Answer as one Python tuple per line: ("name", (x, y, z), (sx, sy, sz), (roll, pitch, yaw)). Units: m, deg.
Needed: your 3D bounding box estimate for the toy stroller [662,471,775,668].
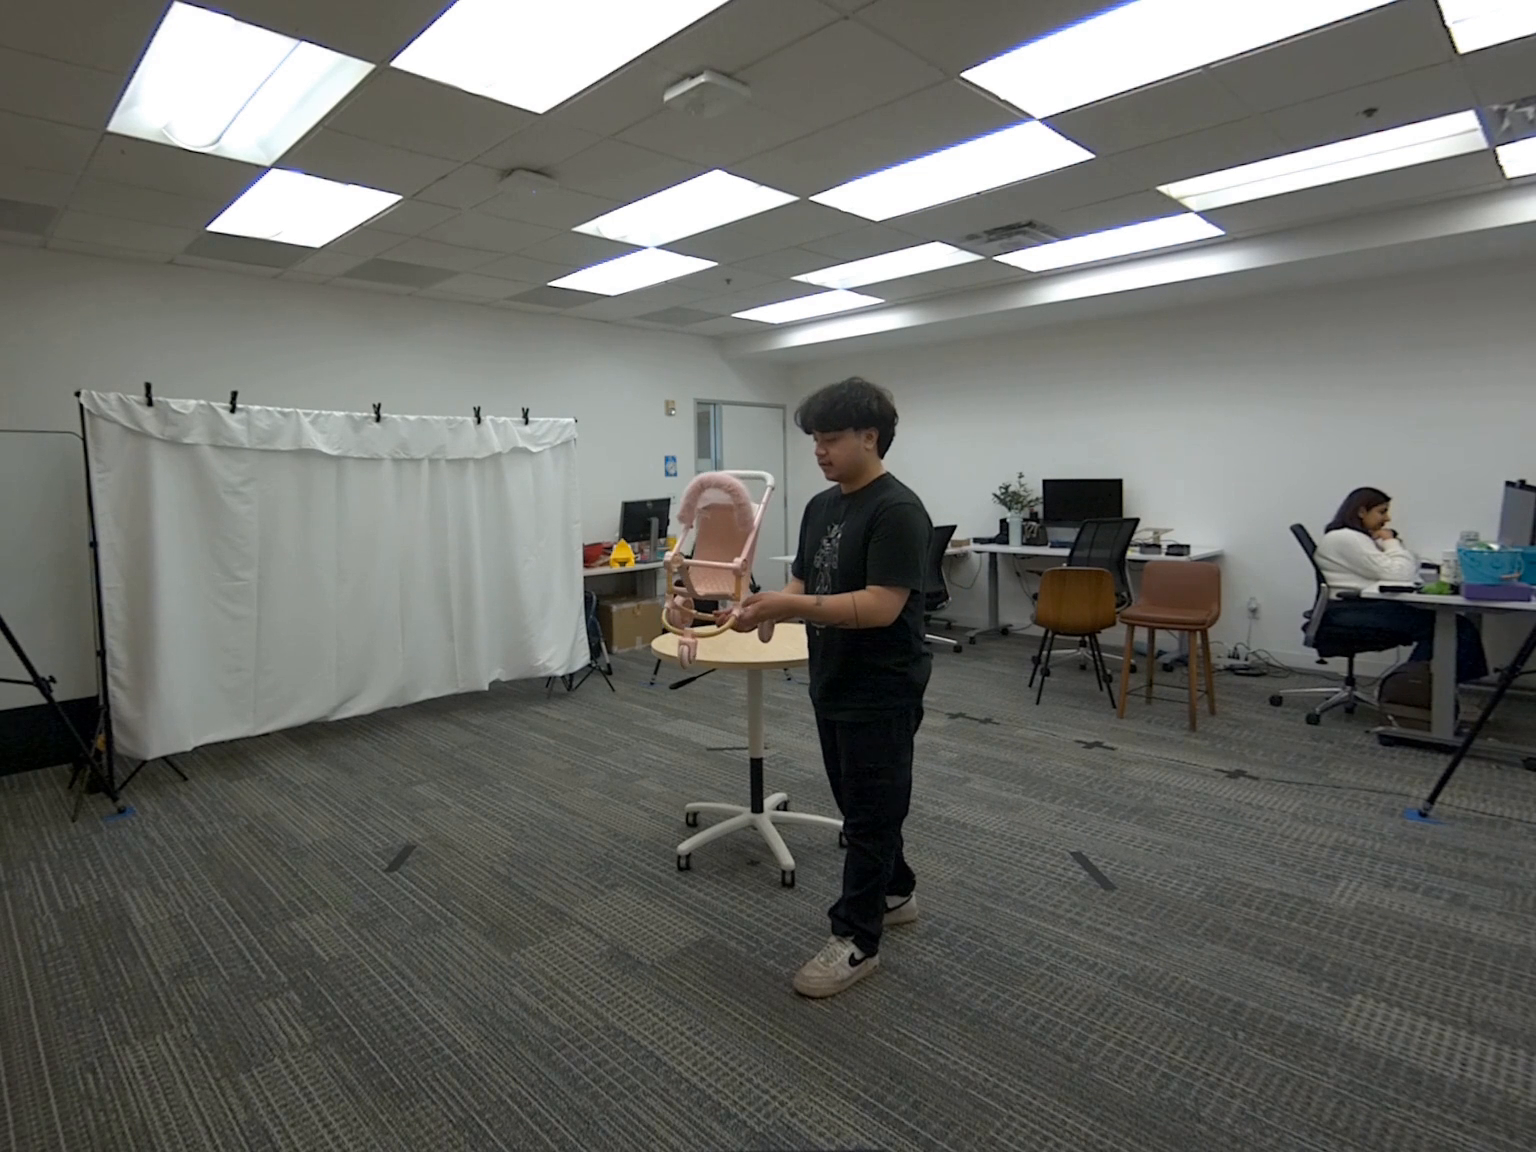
("toy stroller", (-0.133, -0.036, 2.249), (0.288, 0.536, 0.333), (5, -2, 23))
